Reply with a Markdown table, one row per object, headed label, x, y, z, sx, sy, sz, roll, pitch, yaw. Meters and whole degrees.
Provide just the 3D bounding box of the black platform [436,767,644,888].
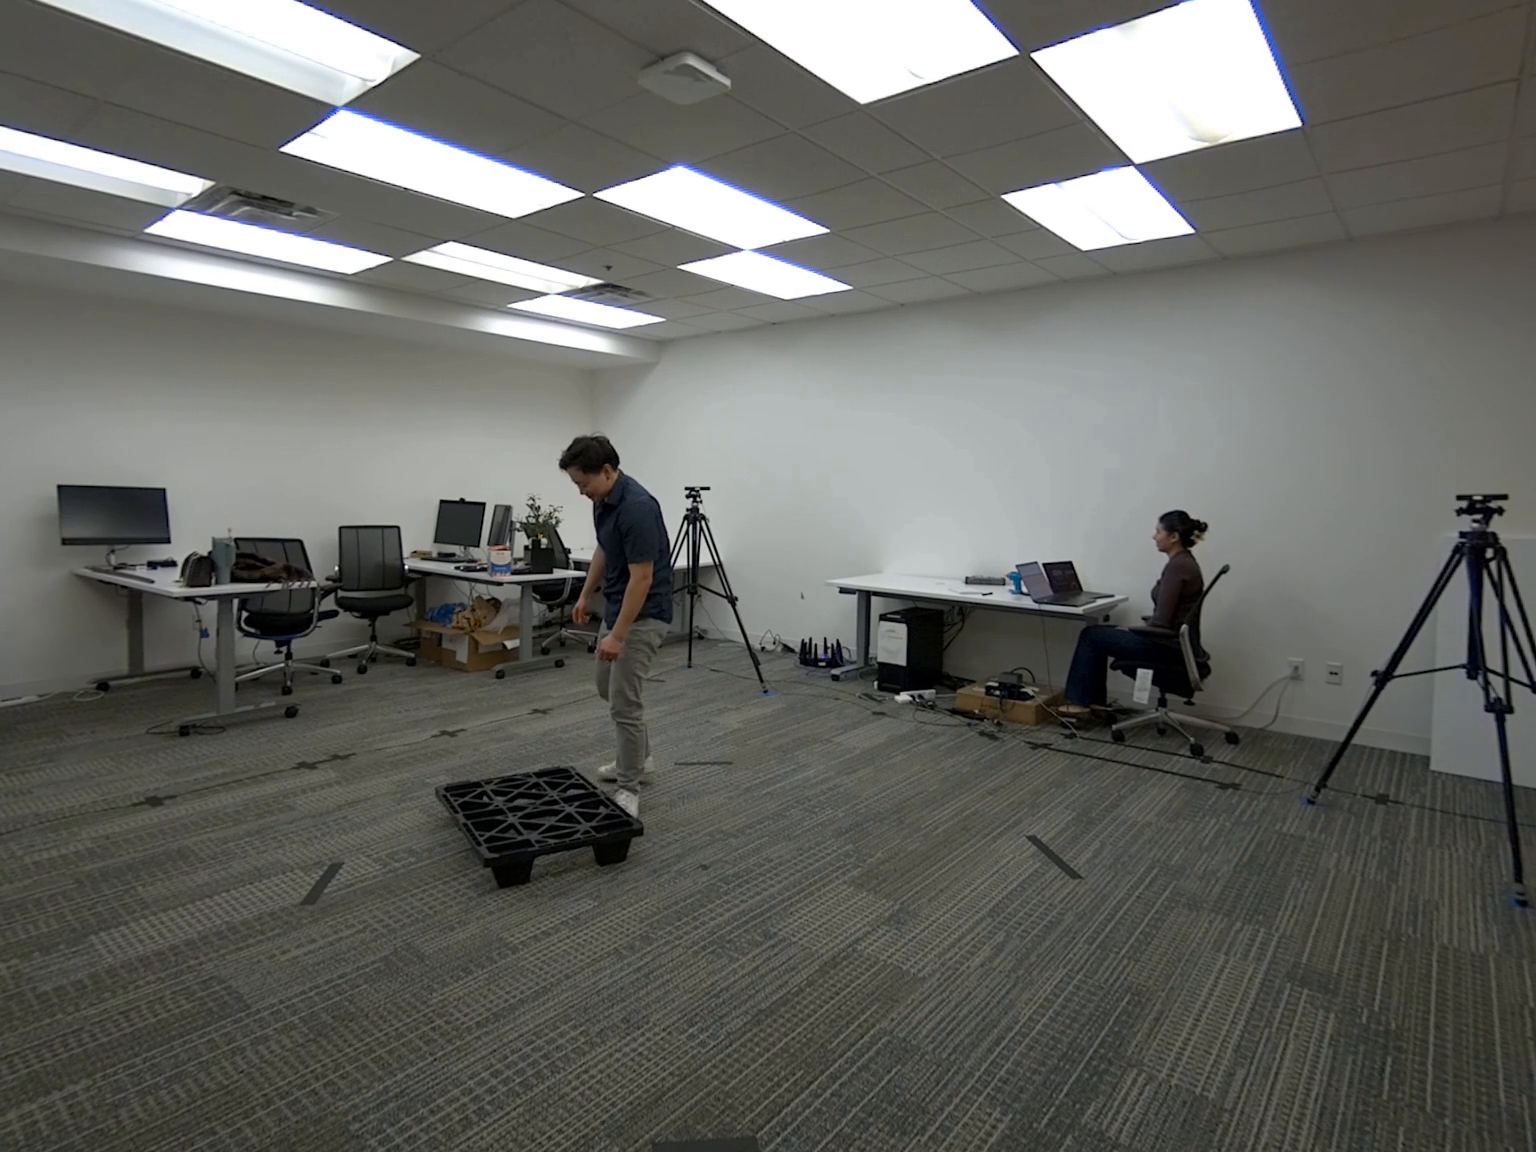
| label | x | y | z | sx | sy | sz | roll | pitch | yaw |
| --- | --- | --- | --- | --- | --- | --- | --- | --- | --- |
| black platform | -0.936 | 0.965 | 3.348 | 0.589 | 0.143 | 0.831 | -4 | 7 | -32 |
